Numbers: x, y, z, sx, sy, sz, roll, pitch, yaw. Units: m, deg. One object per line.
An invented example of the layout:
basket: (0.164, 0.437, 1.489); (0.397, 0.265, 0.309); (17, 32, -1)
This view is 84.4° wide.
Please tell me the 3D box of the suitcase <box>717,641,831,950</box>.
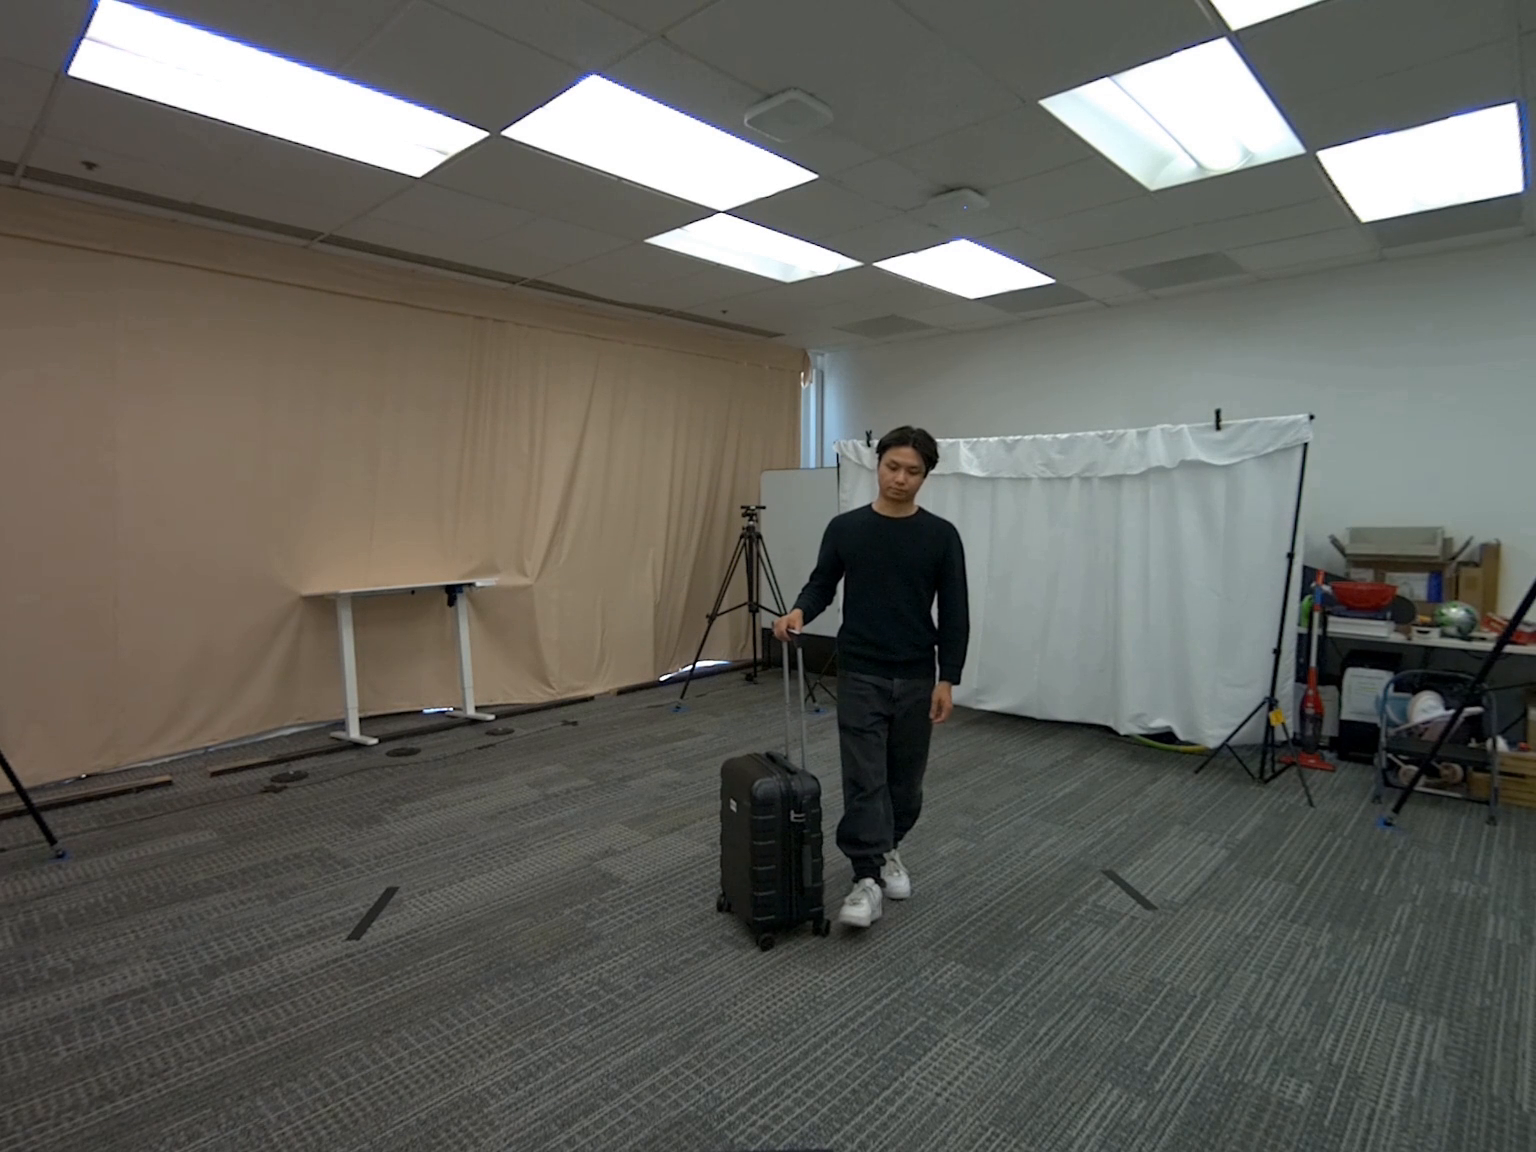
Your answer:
suitcase: (0.001, 0.683, 2.791); (0.252, 0.977, 0.392); (-3, 3, -22)
